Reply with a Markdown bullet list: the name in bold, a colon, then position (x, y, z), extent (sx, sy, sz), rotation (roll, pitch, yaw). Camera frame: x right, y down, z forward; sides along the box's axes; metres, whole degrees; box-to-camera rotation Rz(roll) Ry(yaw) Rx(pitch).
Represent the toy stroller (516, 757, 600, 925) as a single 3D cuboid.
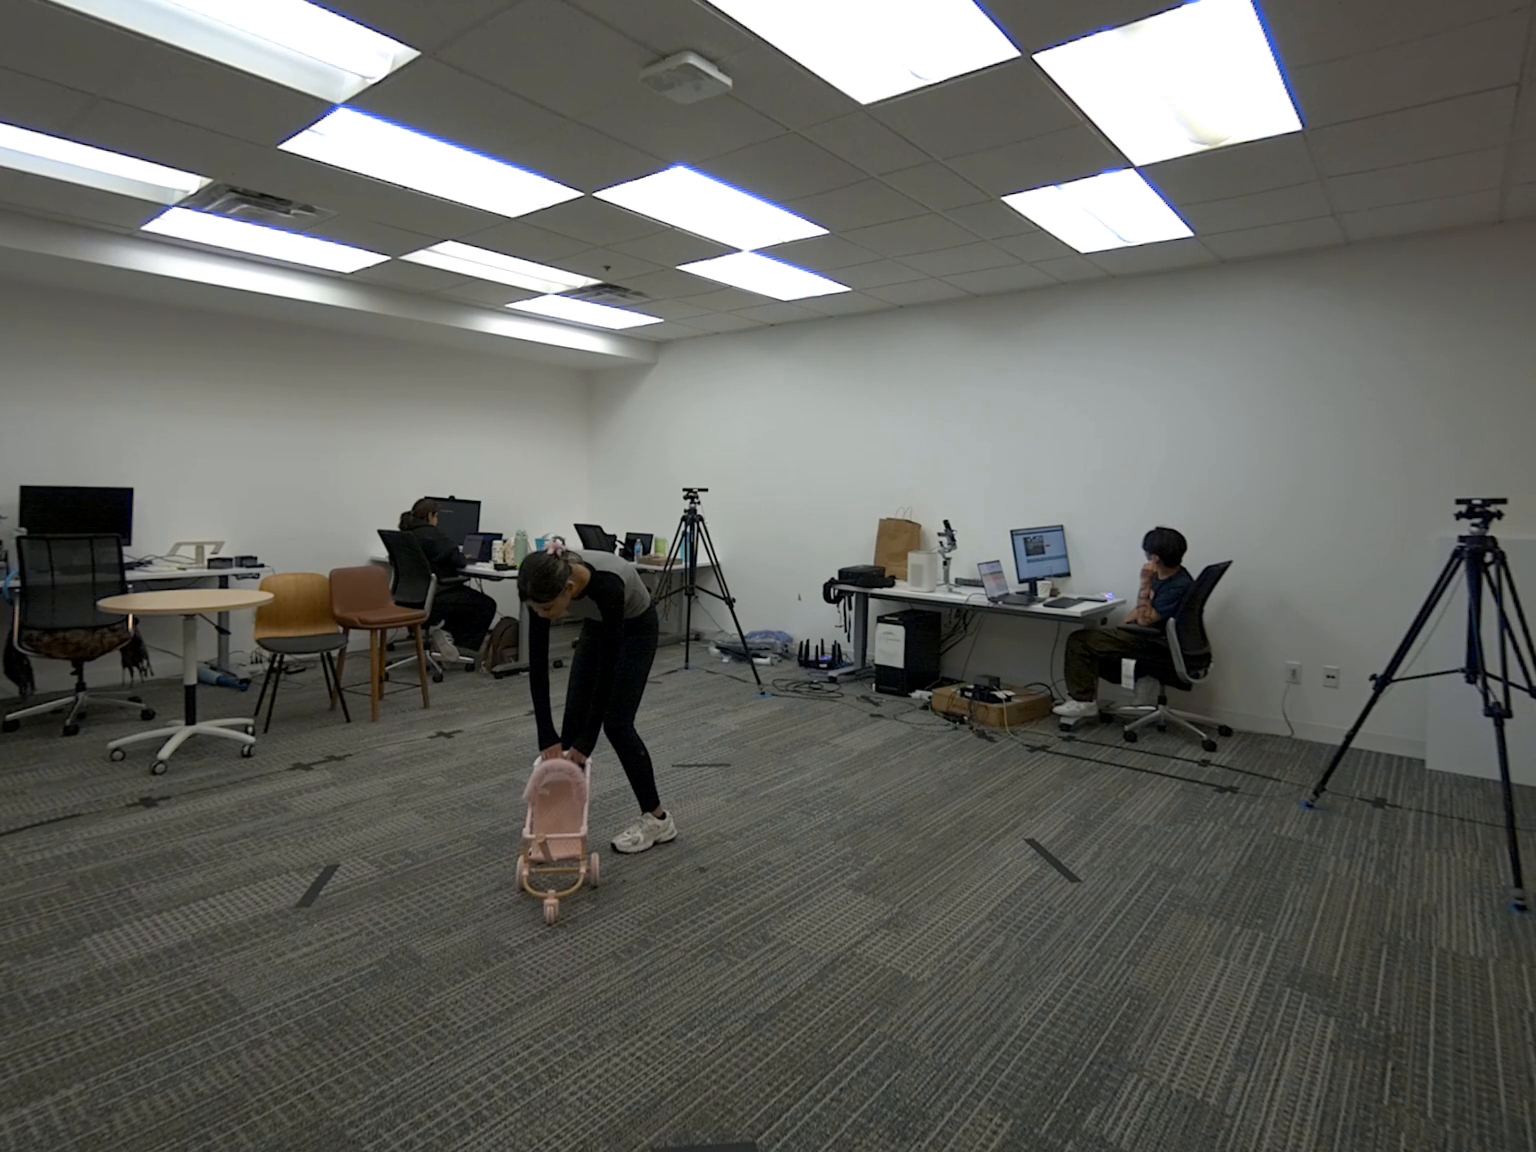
- **toy stroller**: position (-0.728, 0.863, 2.880), extent (0.280, 0.542, 0.338), rotation (-1, -12, -4)
